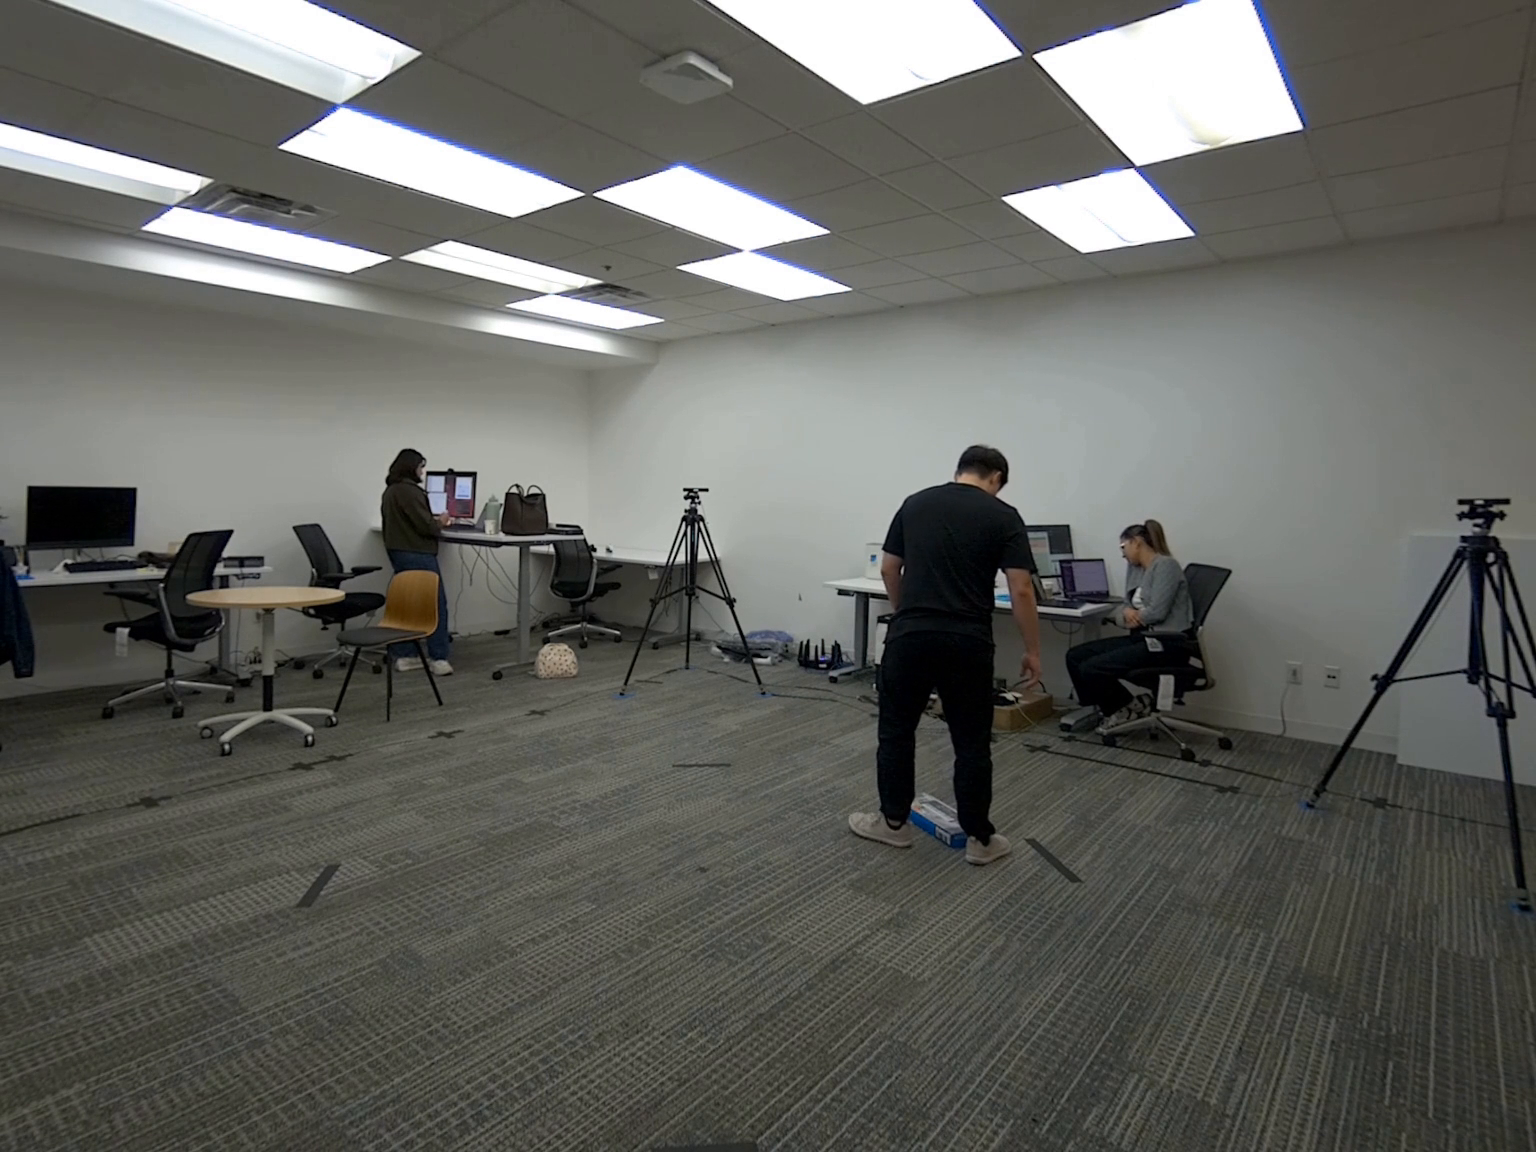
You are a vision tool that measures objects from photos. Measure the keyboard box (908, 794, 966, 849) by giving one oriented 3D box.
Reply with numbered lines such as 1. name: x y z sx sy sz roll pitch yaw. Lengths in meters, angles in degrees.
1. keyboard box: 0.701 1.012 3.574 0.172 0.059 0.448 -2 7 -24
